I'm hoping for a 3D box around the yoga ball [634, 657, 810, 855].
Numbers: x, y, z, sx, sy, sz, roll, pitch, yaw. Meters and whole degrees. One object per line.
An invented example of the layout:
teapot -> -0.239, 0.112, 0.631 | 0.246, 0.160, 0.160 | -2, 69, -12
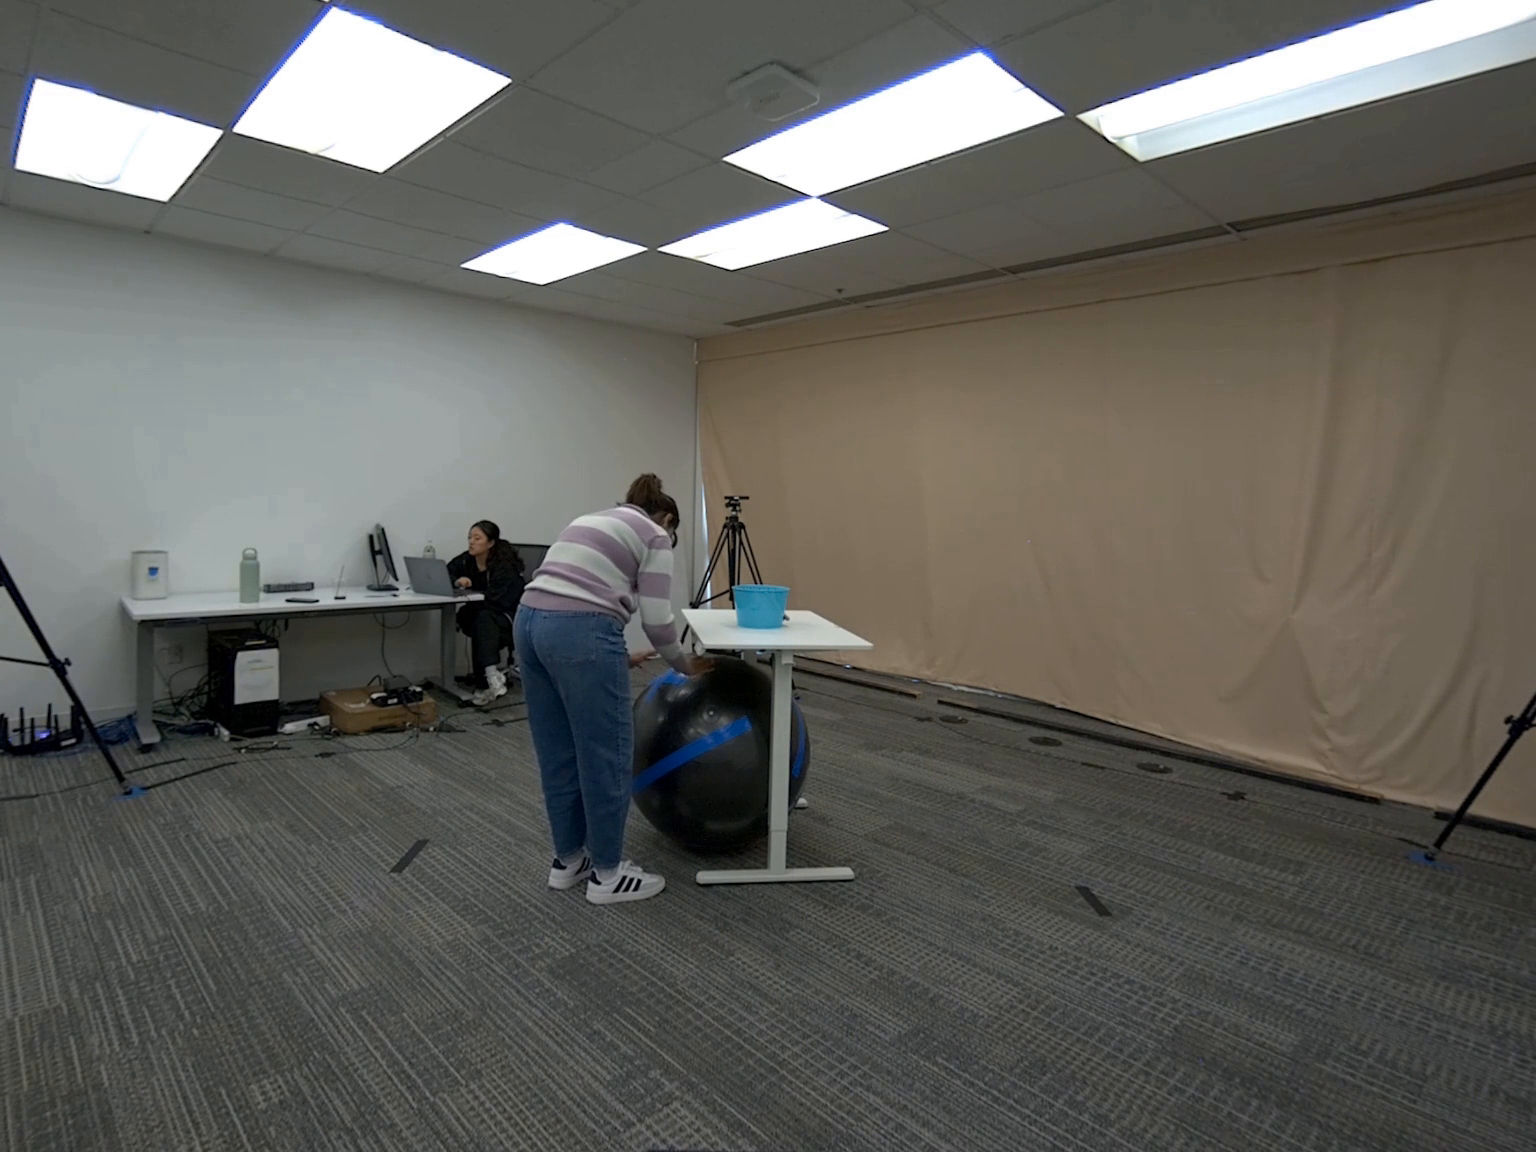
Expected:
yoga ball -> -0.218, 0.713, 3.404 | 0.757, 0.756, 0.761 | 1, 4, -1
